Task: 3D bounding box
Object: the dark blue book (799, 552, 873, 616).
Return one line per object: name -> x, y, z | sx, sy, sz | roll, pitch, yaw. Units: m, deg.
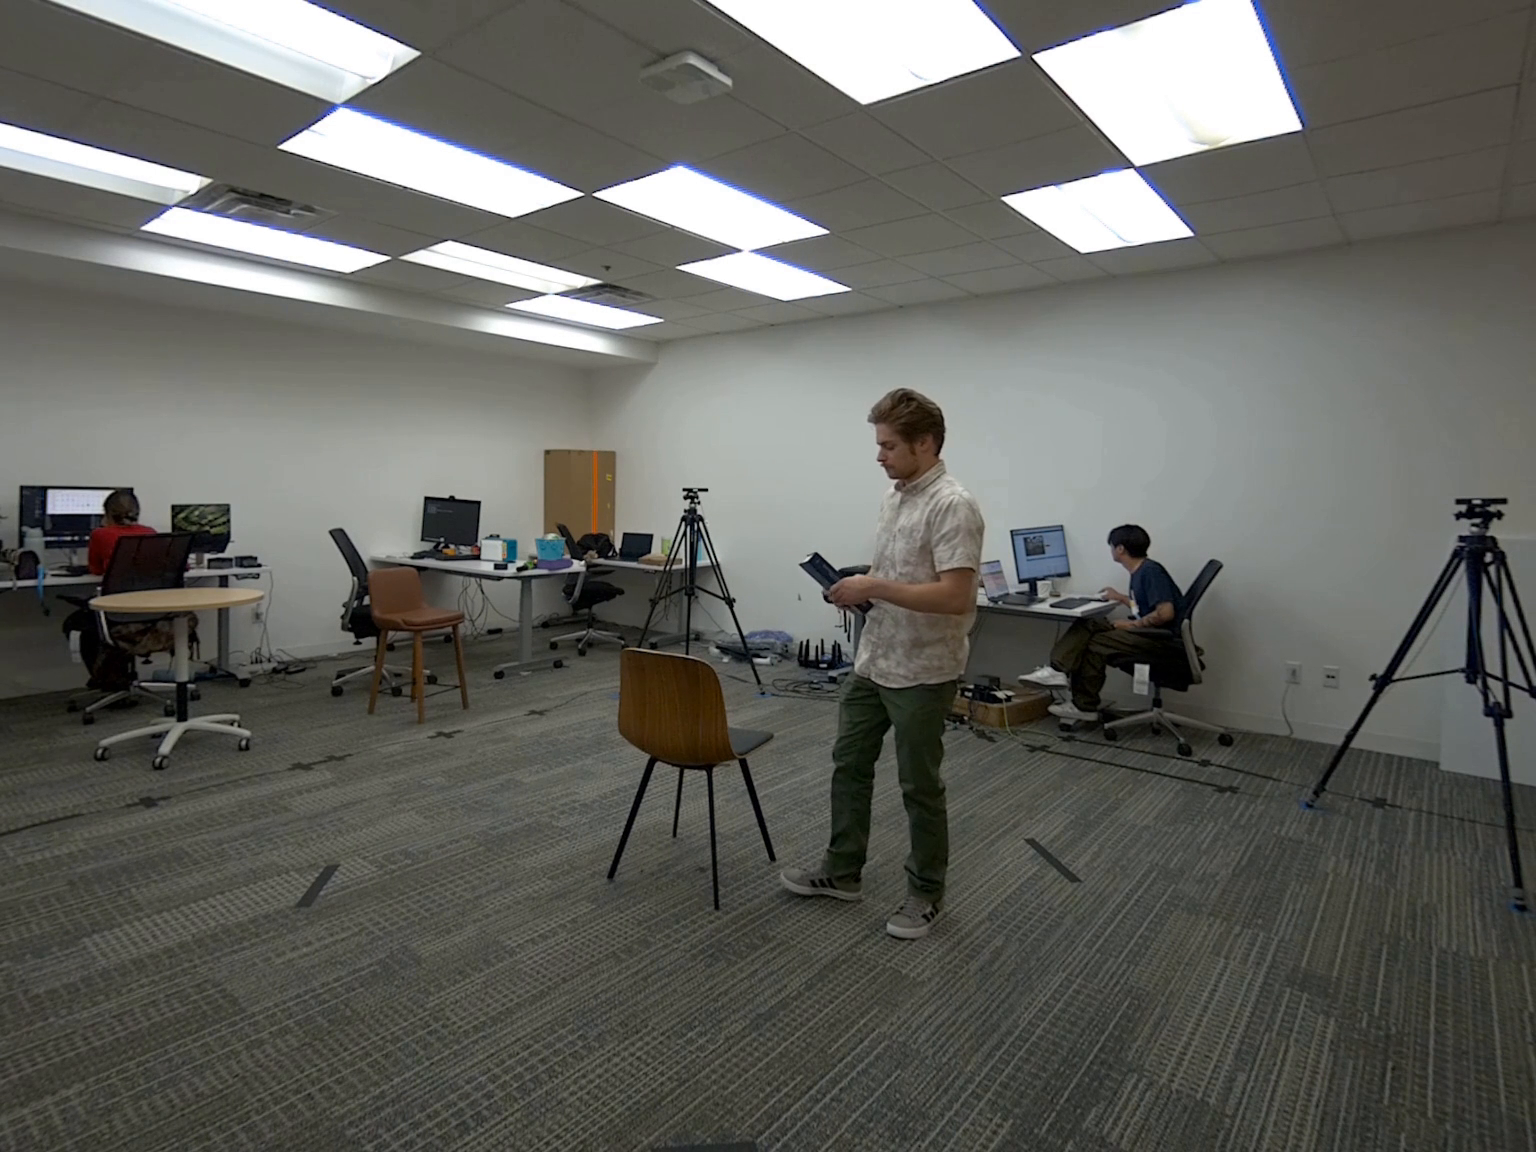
dark blue book -> 0.206, 0.022, 2.699 | 0.244, 0.045, 0.164 | 42, -7, -3
